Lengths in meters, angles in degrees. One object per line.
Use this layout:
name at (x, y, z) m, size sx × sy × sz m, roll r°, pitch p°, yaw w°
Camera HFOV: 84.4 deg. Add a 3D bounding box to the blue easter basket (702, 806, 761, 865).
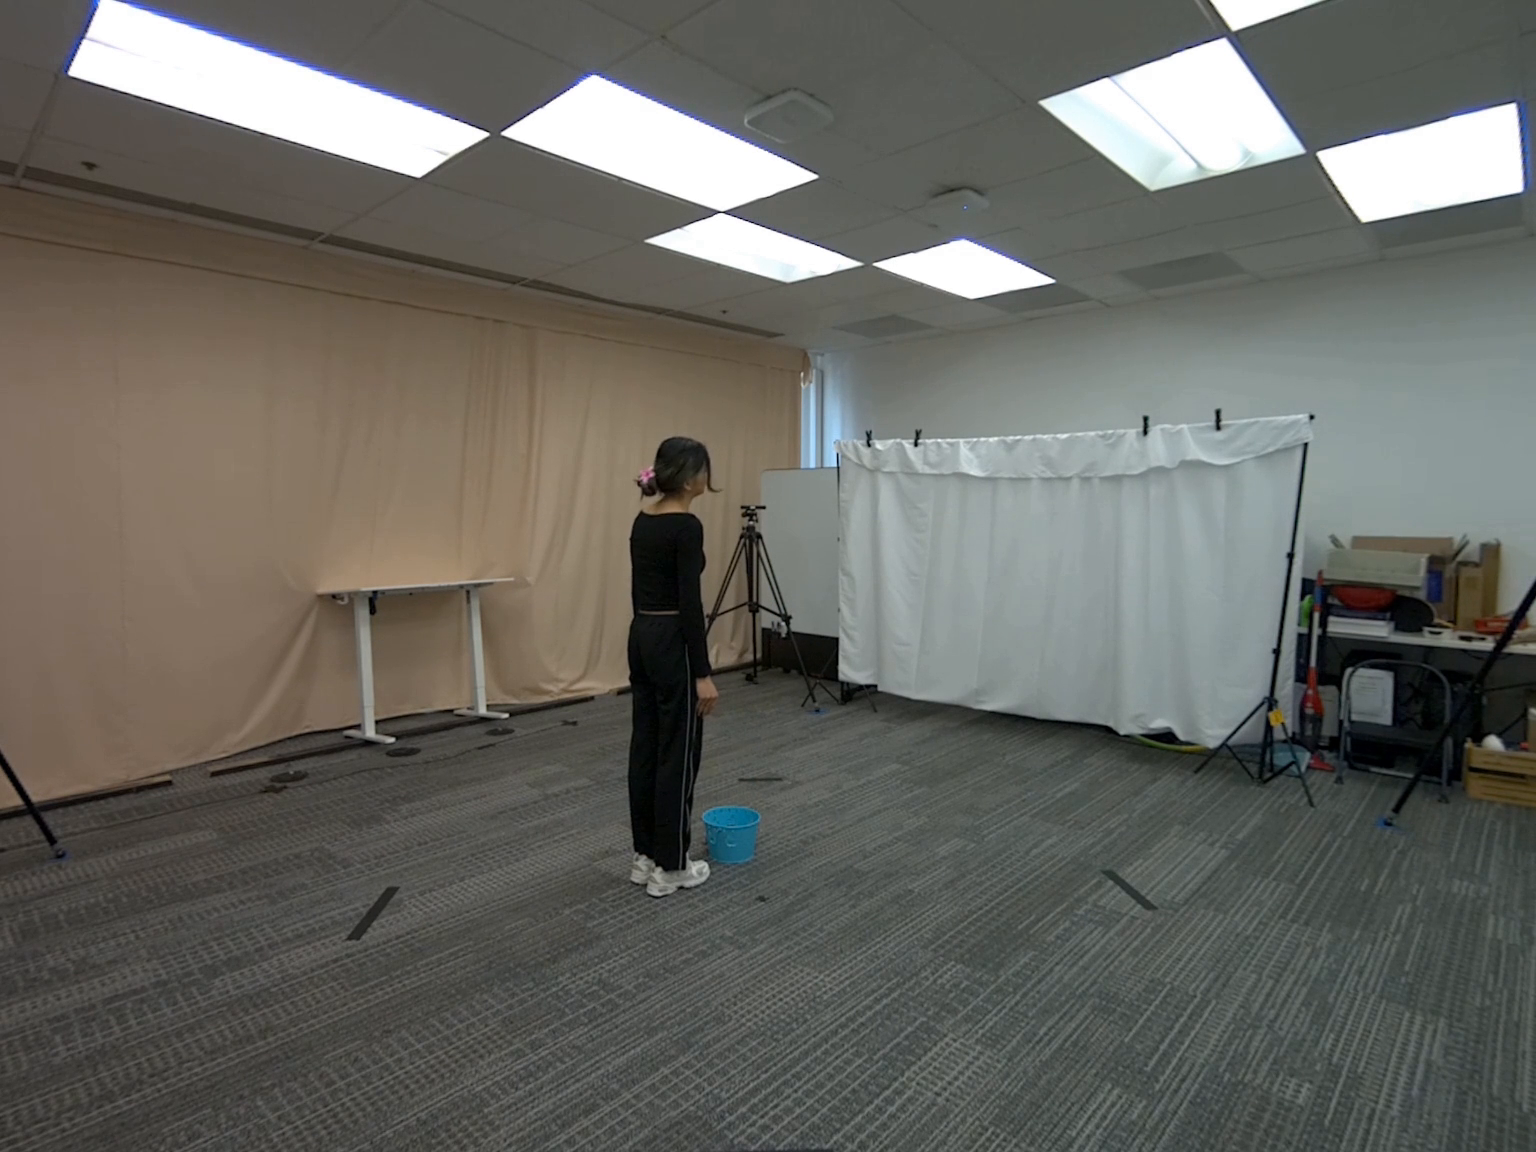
blue easter basket at (-0.144, 1.034, 3.359) m, size 0.243 × 0.155 × 0.244 m, roll -1°, pitch 4°, yaw -2°
